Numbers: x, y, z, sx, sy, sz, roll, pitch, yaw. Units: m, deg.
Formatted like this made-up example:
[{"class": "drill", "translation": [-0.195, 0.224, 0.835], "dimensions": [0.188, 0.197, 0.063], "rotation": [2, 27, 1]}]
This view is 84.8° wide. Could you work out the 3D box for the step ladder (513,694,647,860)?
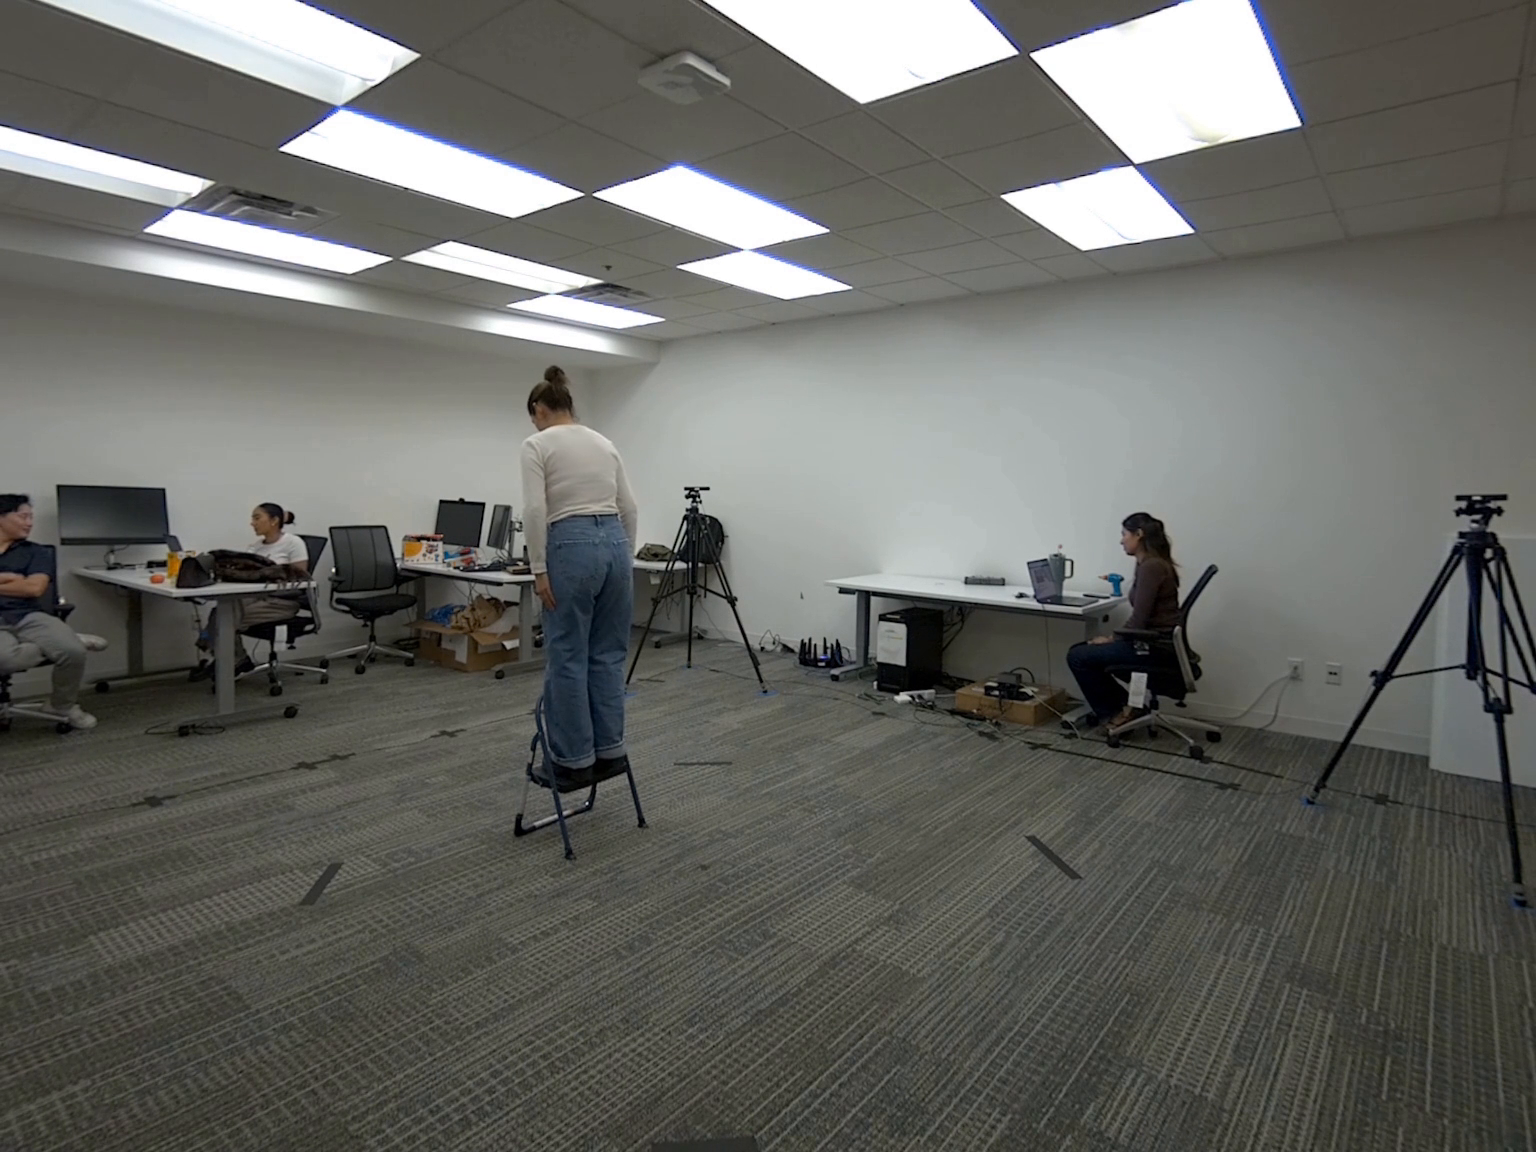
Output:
[{"class": "step ladder", "translation": [-0.761, 0.728, 3.423], "dimensions": [0.360, 0.605, 0.418], "rotation": [2, 3, 36]}]
